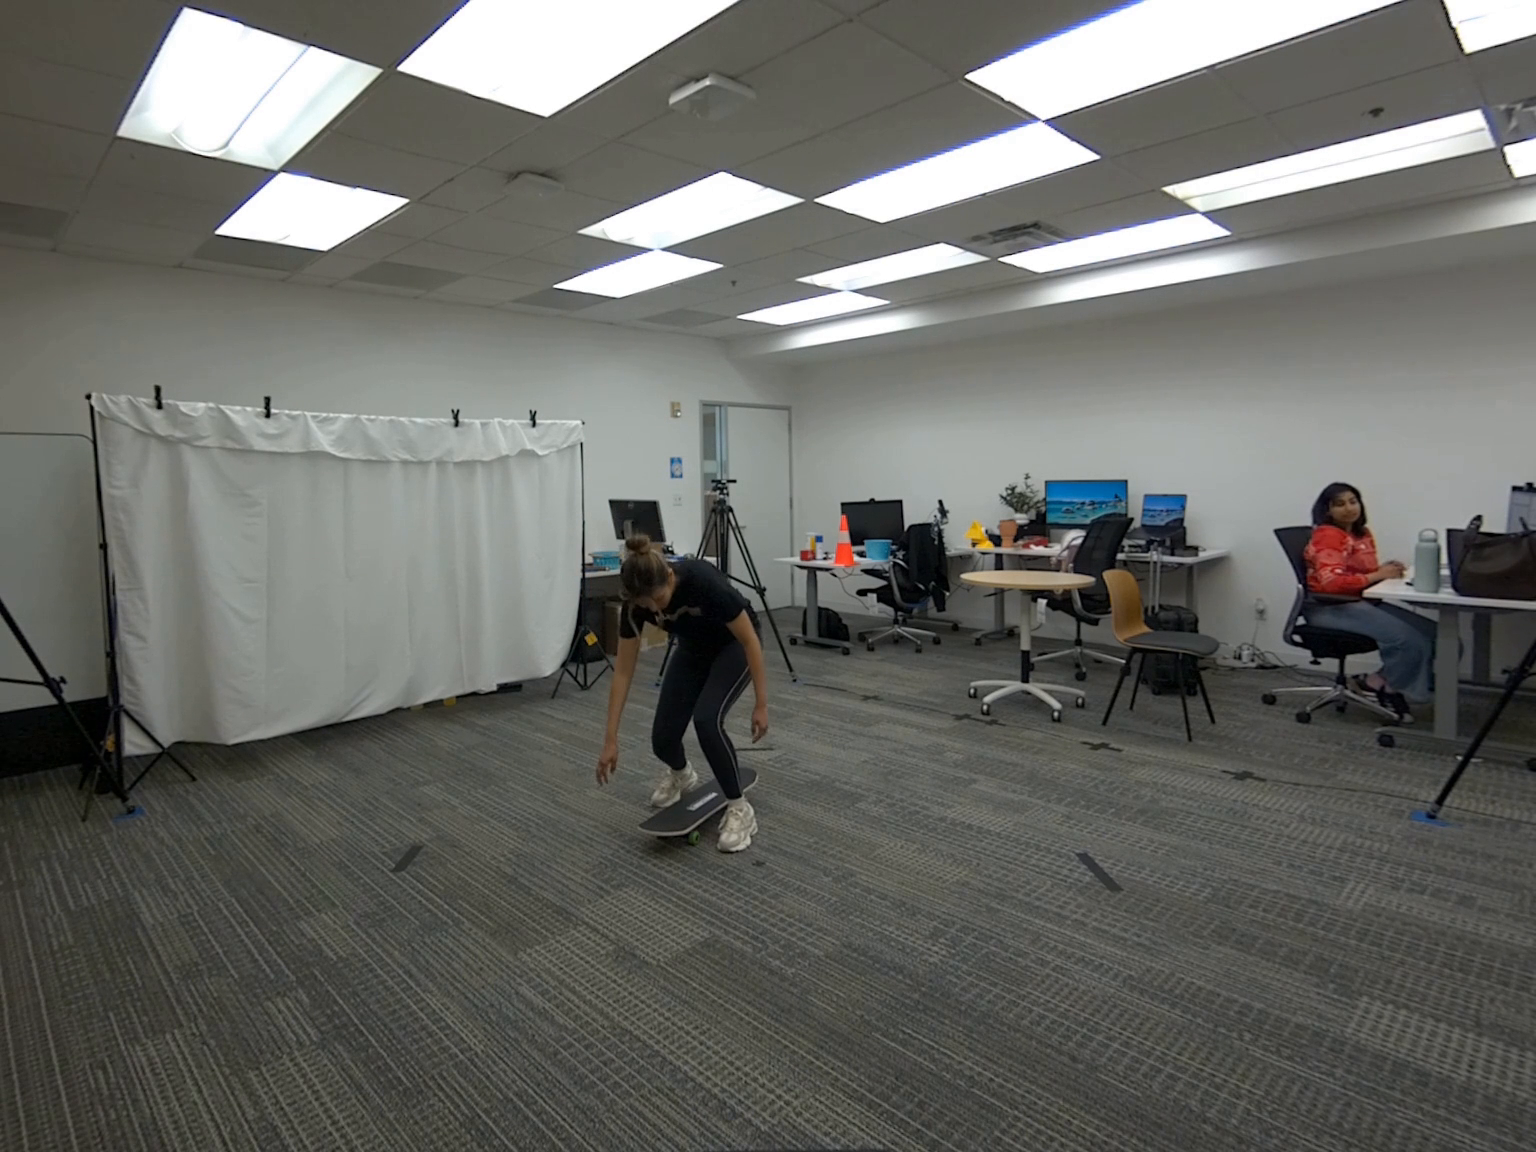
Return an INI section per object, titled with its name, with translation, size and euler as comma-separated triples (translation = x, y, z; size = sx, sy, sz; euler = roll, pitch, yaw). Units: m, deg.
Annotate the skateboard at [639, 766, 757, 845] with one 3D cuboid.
[skateboard]
translation = -0.268, 0.947, 3.495
size = 0.198, 0.110, 0.770
euler = 1, 6, 26
